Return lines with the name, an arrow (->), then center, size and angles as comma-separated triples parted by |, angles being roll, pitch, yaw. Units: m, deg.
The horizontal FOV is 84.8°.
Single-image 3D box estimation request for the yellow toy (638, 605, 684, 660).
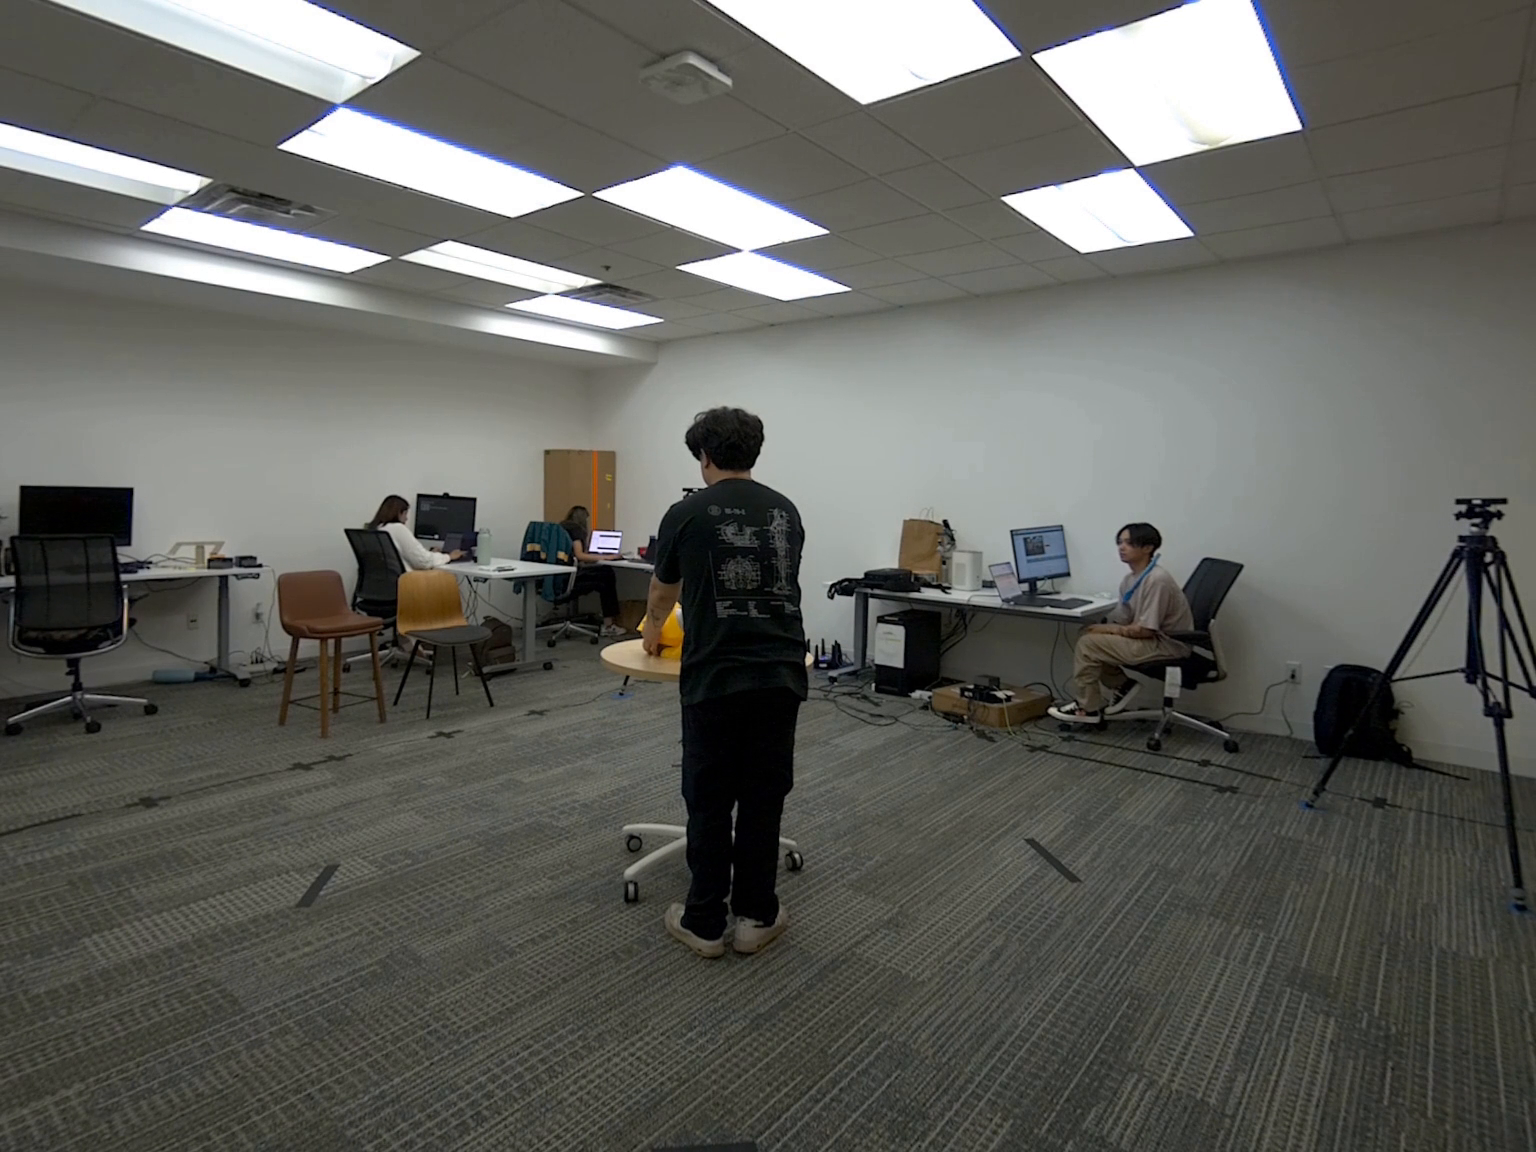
yellow toy -> -0.349, 0.164, 3.062 | 0.187, 0.230, 0.212 | -1, 5, -38
